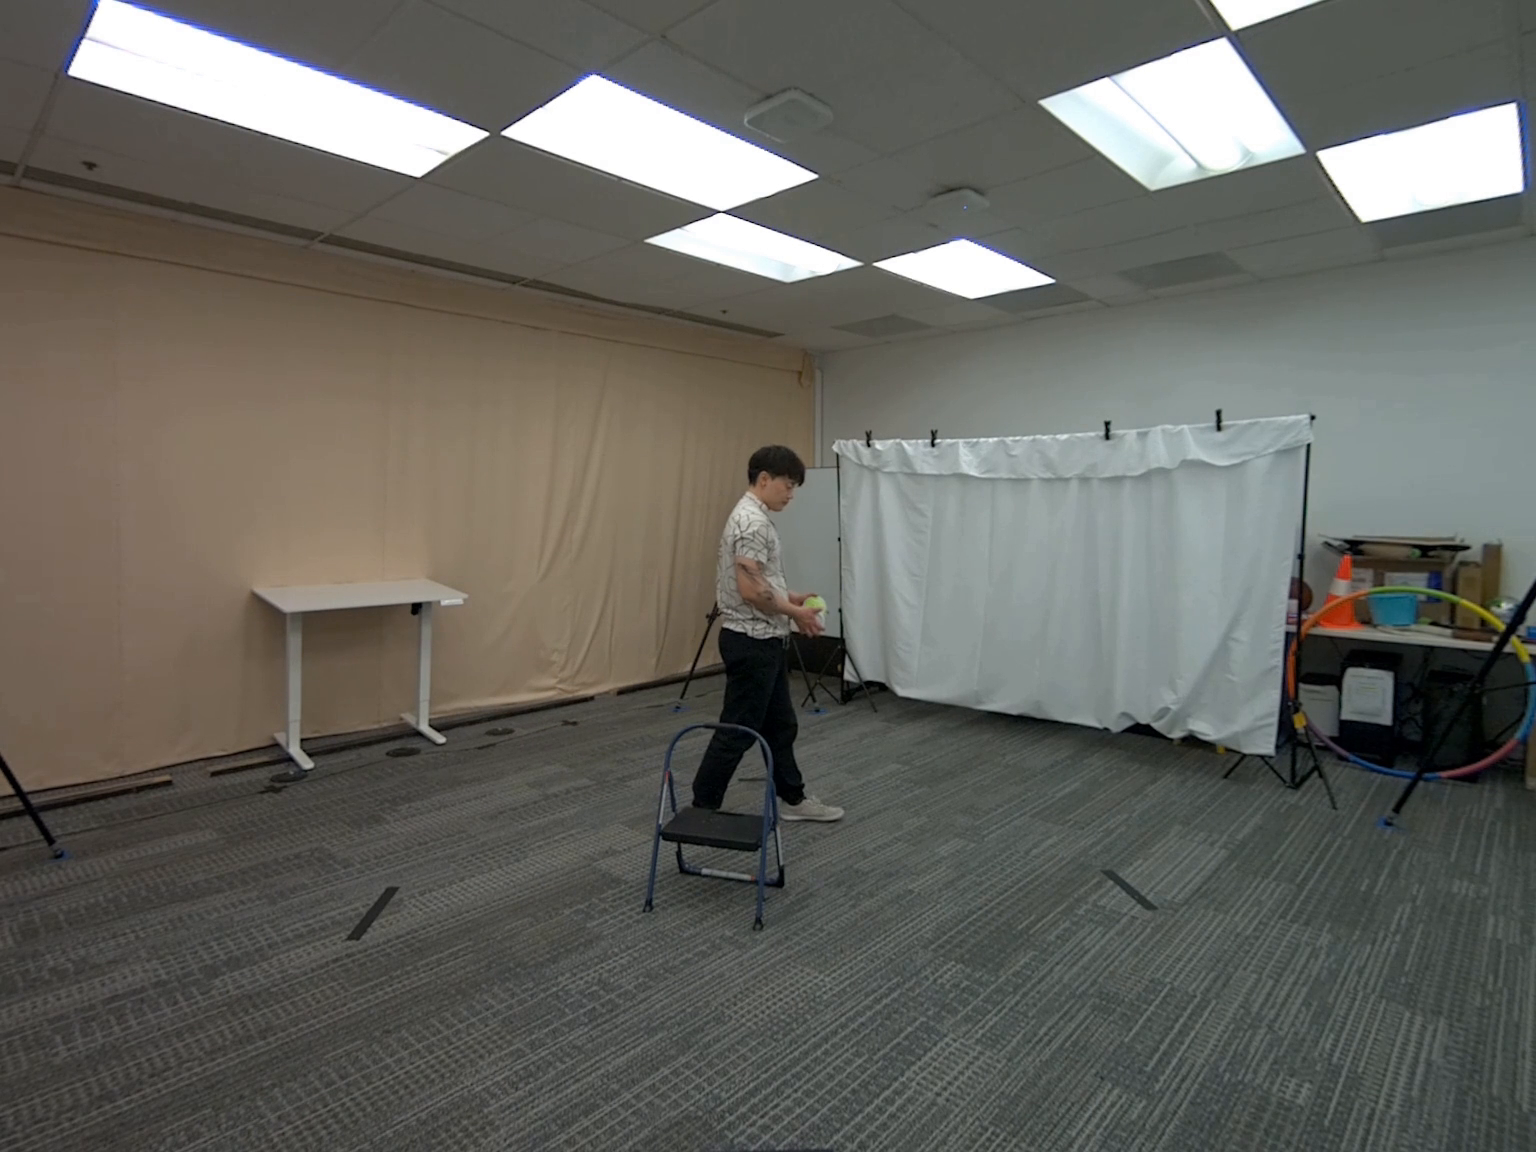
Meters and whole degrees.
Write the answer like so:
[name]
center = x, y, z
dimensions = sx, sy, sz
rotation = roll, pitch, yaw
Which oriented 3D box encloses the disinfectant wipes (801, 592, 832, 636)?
[disinfectant wipes]
center = 0.205, 0.156, 3.569
dimensions = 0.119, 0.117, 0.217
rotation = 0, 14, 6
